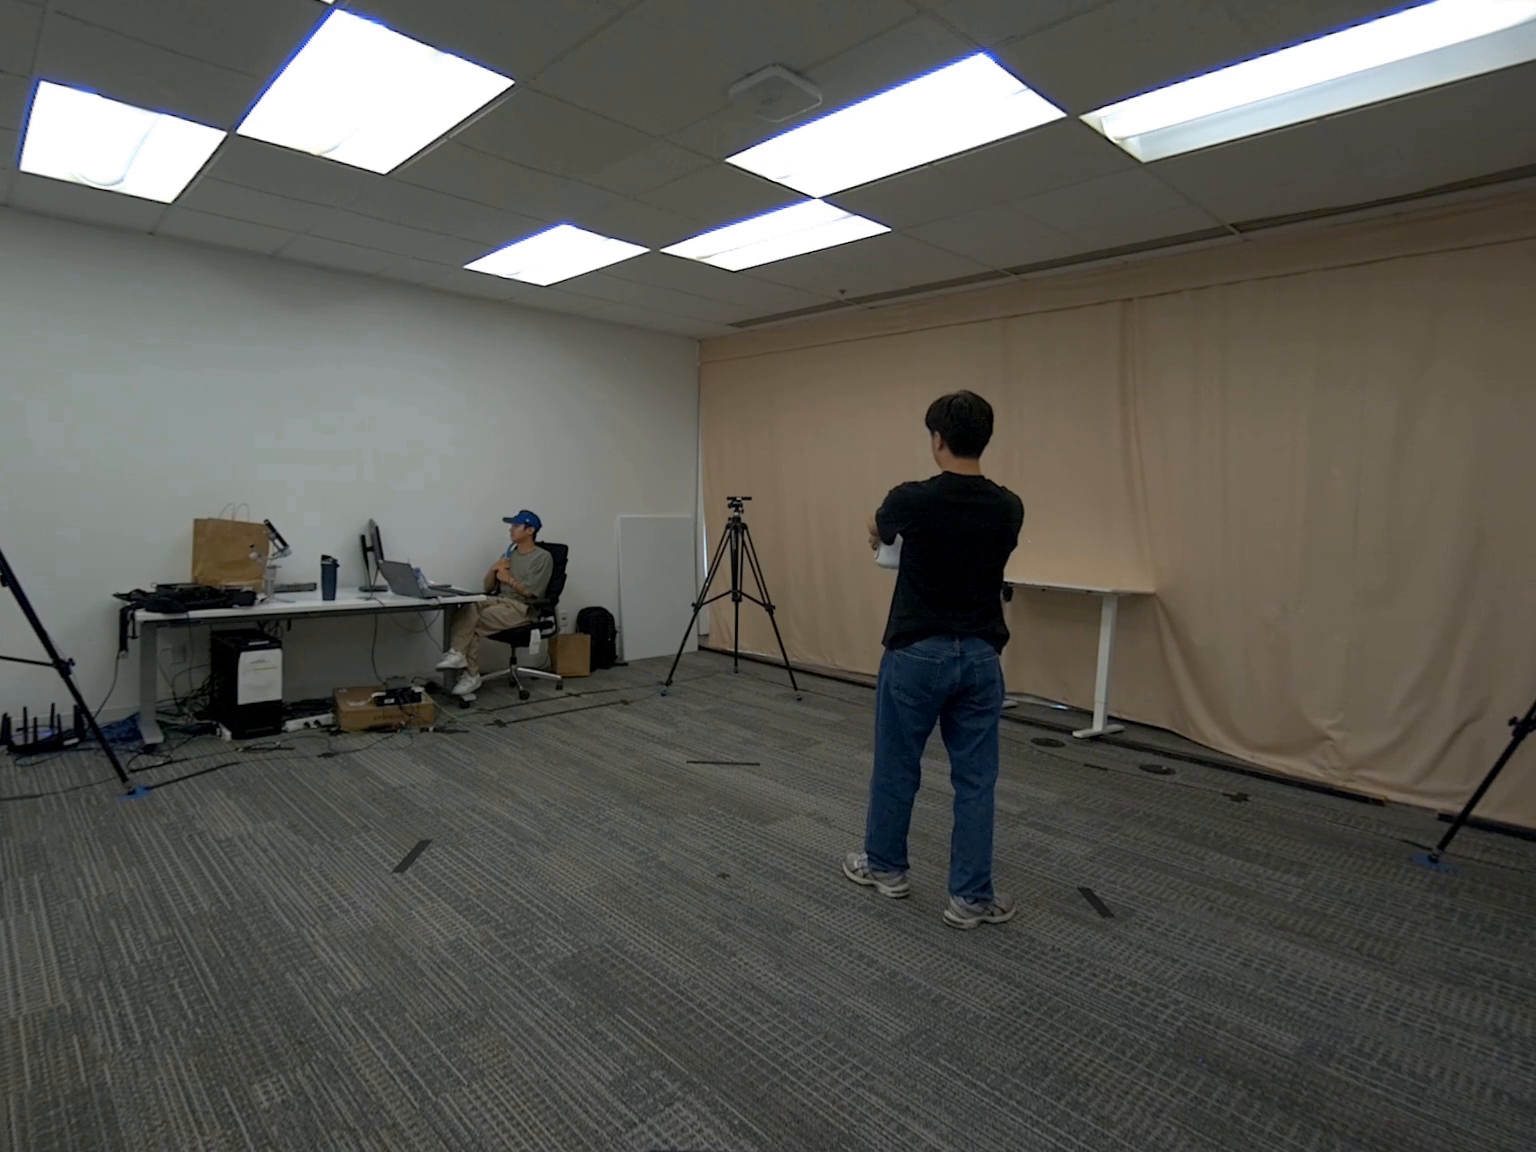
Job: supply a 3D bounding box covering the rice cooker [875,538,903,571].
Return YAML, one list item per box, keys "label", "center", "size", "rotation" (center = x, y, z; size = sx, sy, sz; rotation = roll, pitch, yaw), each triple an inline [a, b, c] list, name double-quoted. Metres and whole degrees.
- label: "rice cooker"
  center: [0.551, -0.142, 3.391]
  size: [0.216, 0.232, 0.222]
  rotation: [-1, 5, -6]
